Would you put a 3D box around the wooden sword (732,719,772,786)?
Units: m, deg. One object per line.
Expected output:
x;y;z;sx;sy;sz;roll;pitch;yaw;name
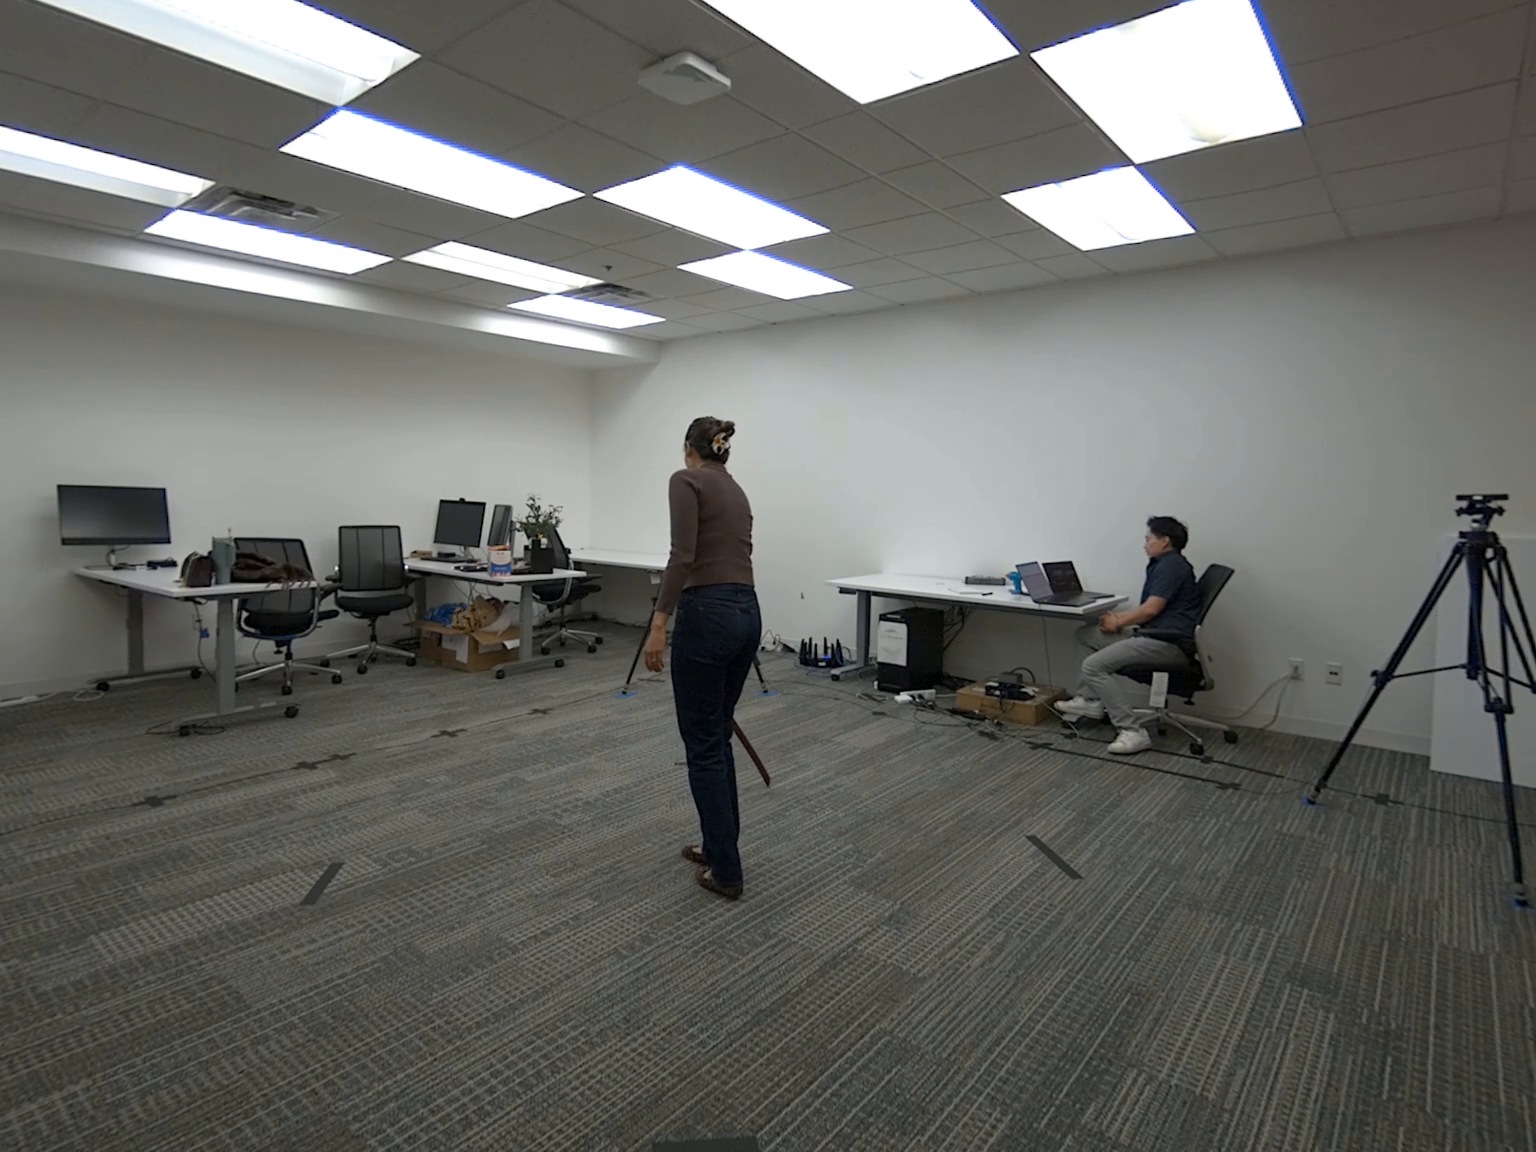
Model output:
-0.186;0.617;3.722;0.024;0.987;0.053;-35;35;-10;wooden sword
